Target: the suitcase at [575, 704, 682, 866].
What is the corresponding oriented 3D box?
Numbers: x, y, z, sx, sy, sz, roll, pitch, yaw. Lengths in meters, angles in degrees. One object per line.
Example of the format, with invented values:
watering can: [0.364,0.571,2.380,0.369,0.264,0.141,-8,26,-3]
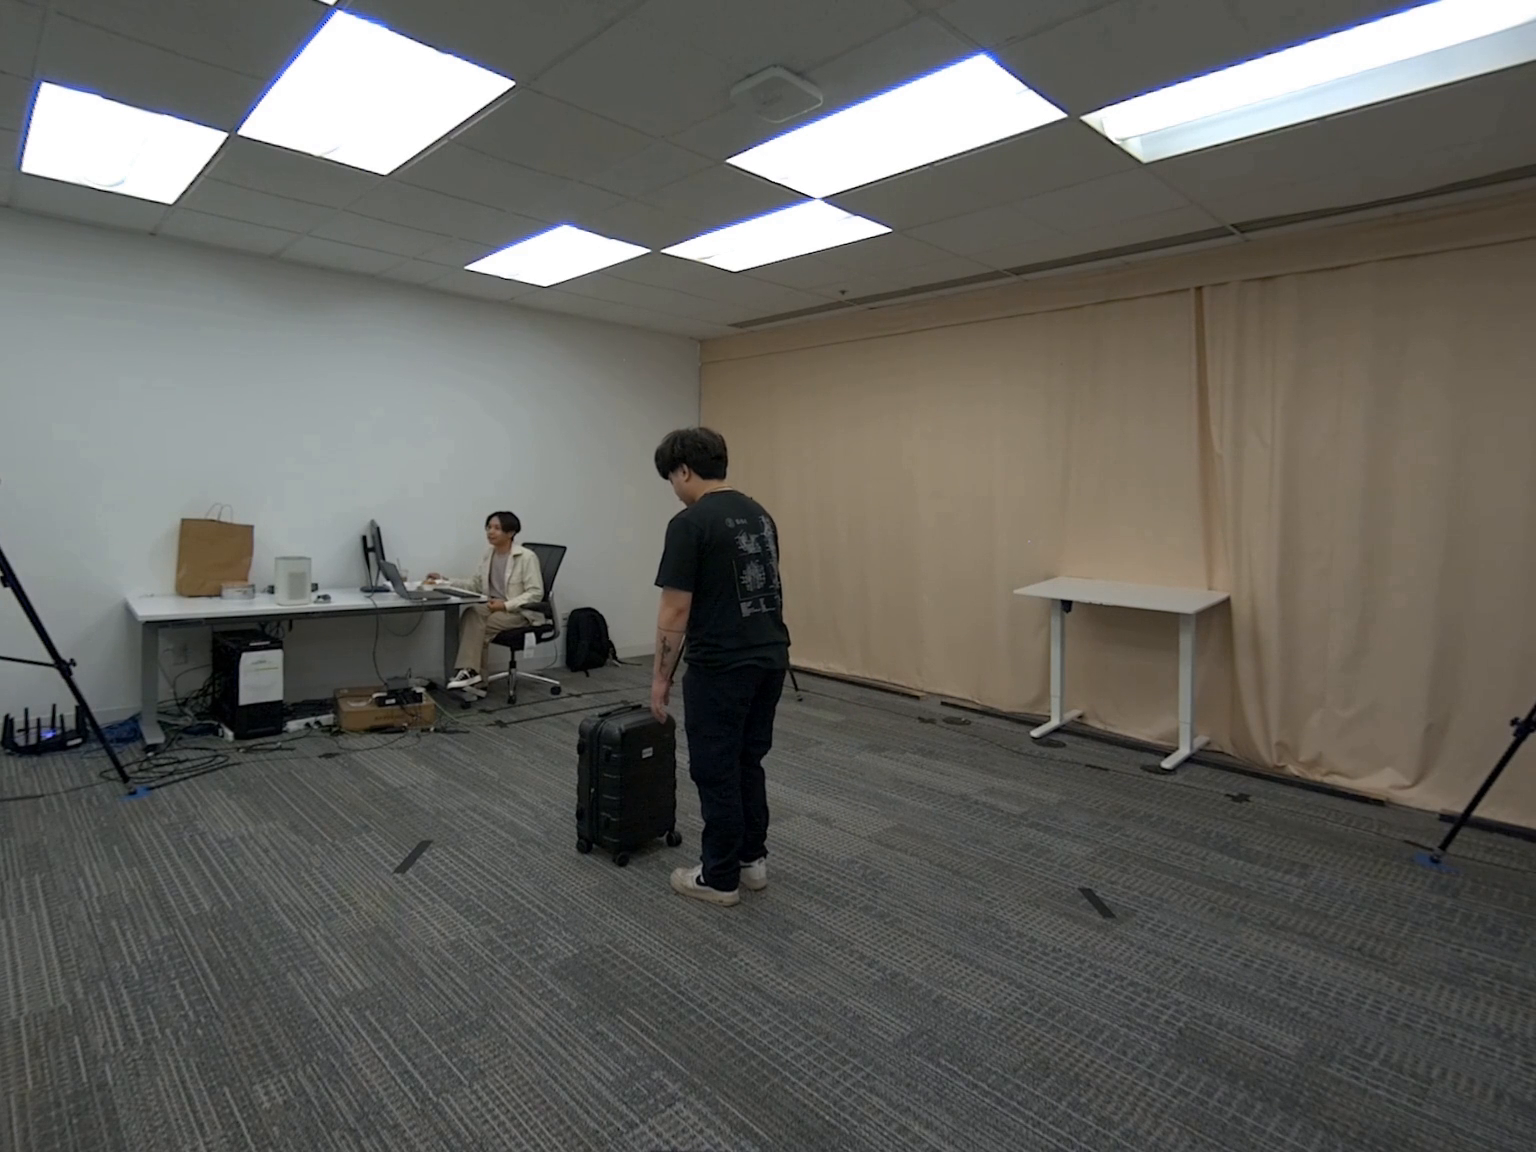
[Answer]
suitcase: [-0.563,0.803,3.332,0.254,0.548,0.367,3,4,38]
